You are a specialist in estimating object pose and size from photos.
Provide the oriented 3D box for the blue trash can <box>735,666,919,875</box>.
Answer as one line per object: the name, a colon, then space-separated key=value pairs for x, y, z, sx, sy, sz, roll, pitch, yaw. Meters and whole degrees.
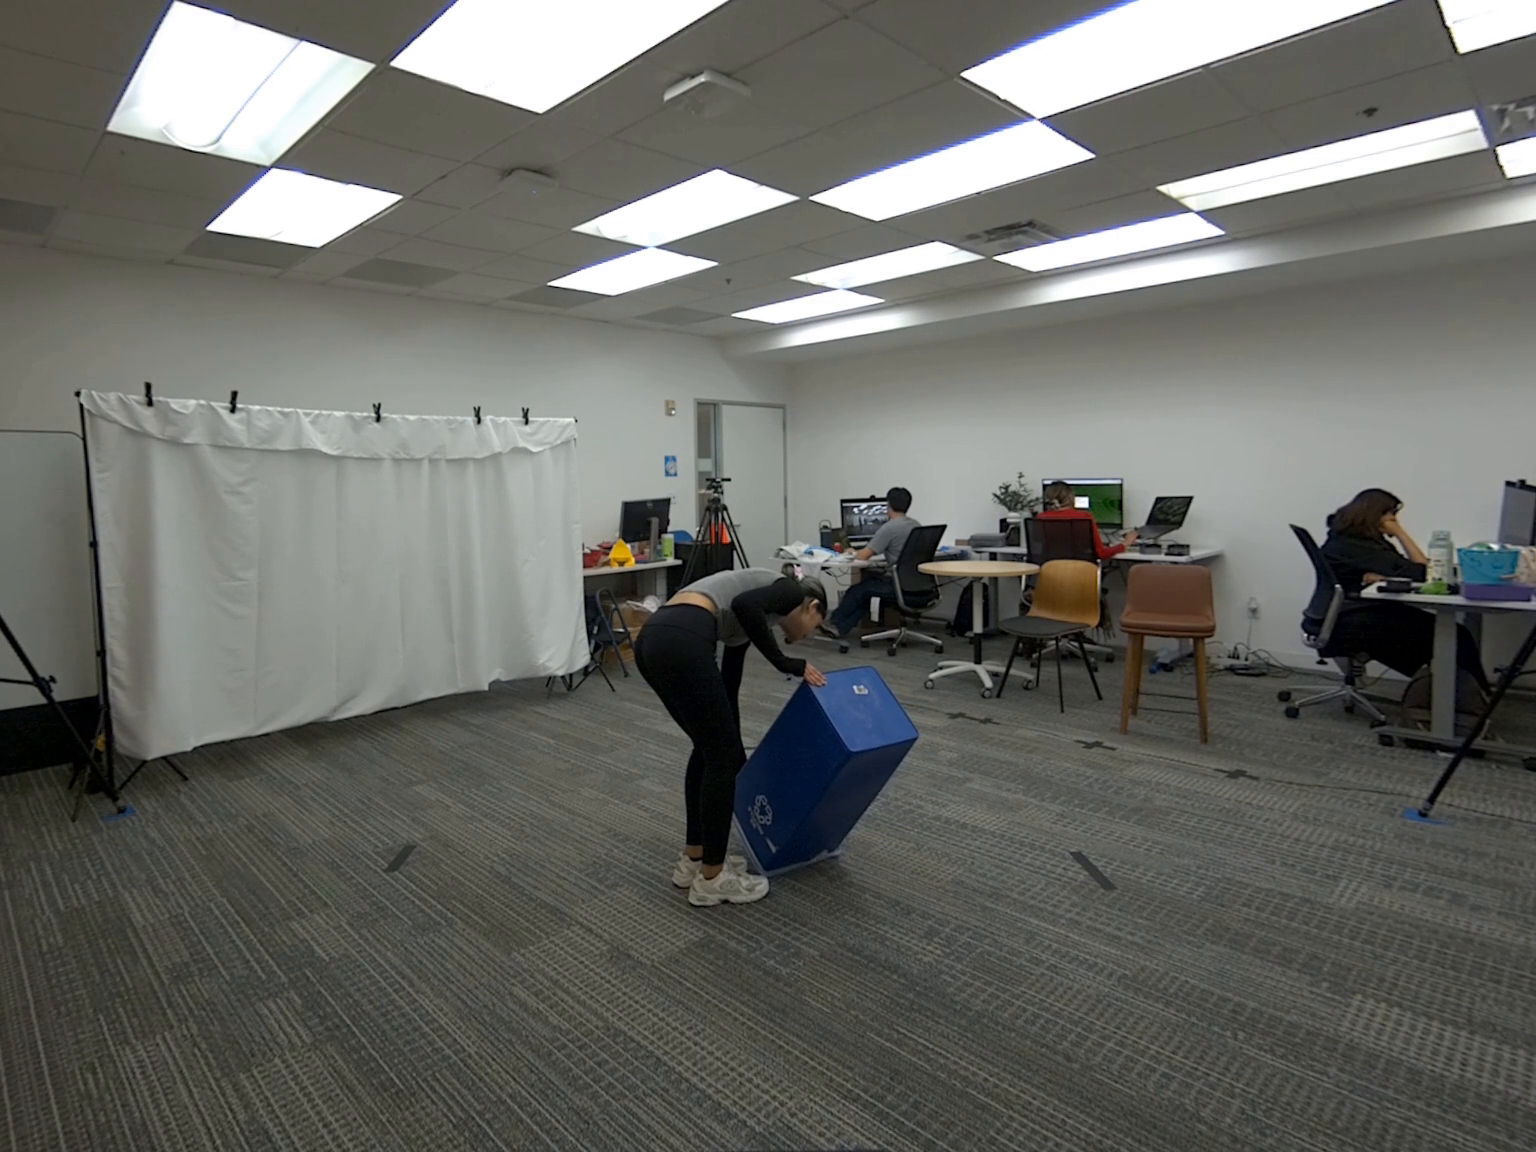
blue trash can: x=0.178 y=0.667 z=2.973 sx=0.368 sy=0.705 sz=0.388 roll=-3 pitch=45 yaw=-34
